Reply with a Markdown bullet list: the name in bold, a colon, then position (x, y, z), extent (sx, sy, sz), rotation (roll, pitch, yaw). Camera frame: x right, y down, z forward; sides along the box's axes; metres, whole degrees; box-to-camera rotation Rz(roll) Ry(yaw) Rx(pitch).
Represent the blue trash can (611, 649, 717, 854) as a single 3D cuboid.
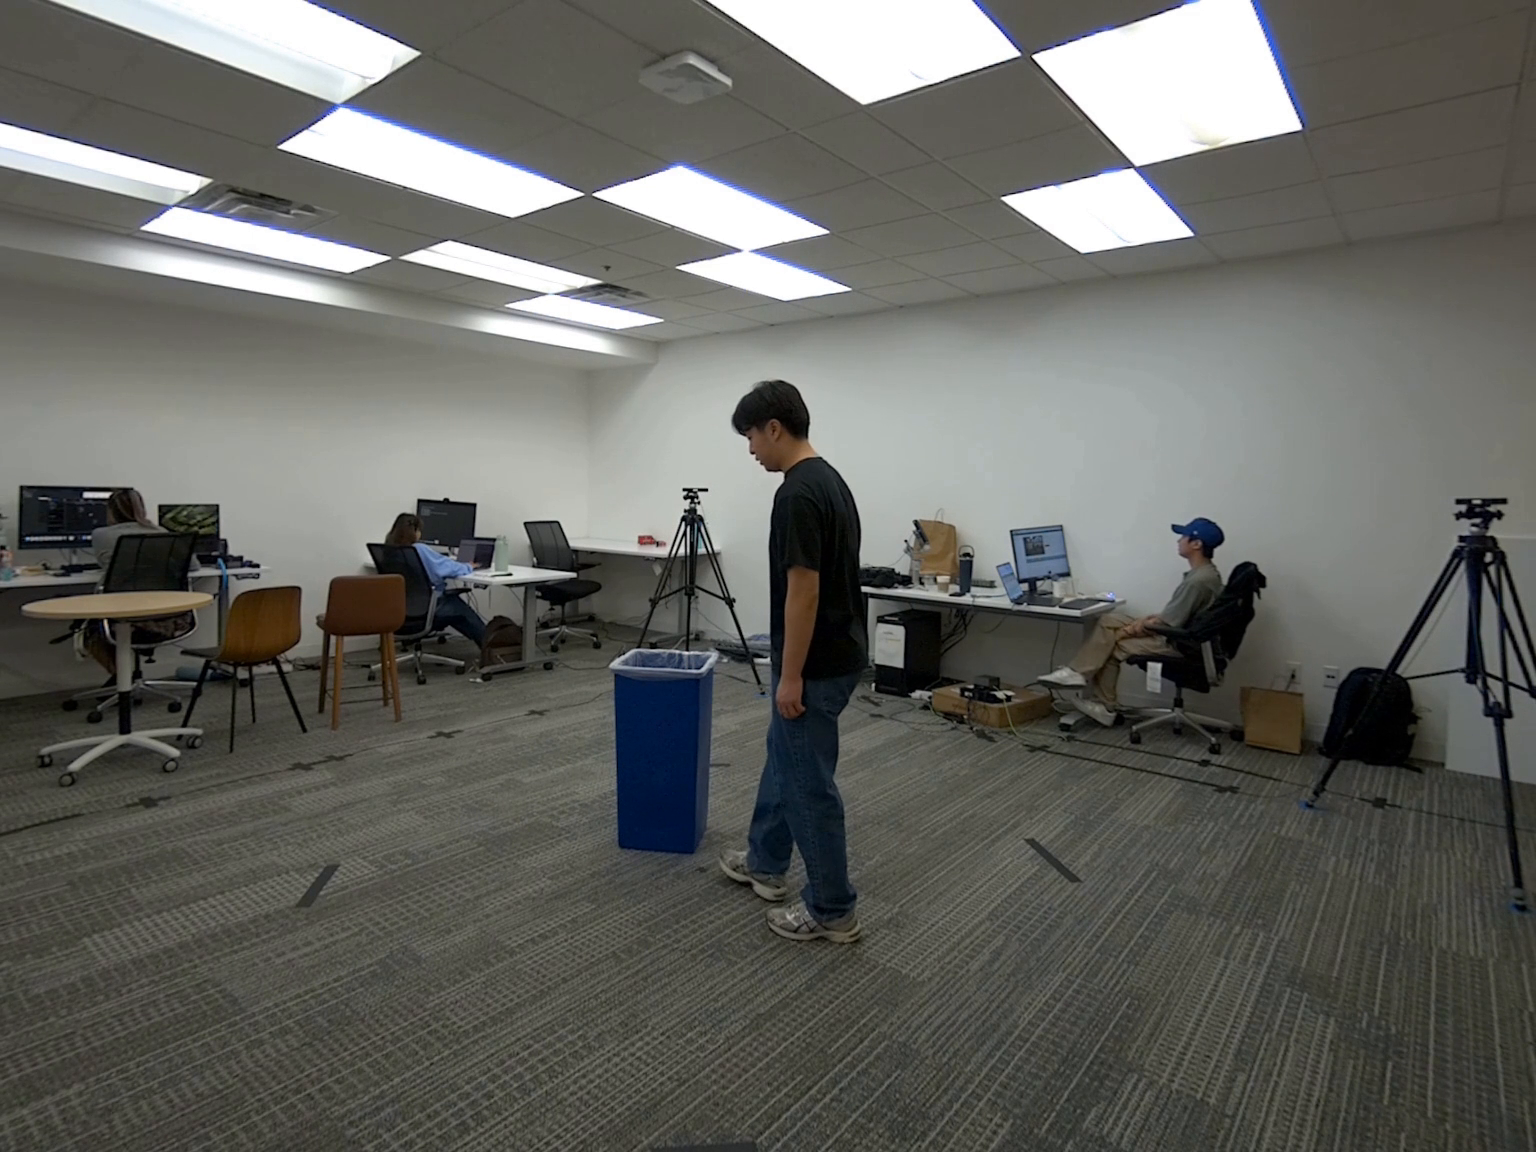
- **blue trash can**: position (-0.425, 0.679, 3.391), extent (0.382, 0.710, 0.372), rotation (1, 5, 7)
